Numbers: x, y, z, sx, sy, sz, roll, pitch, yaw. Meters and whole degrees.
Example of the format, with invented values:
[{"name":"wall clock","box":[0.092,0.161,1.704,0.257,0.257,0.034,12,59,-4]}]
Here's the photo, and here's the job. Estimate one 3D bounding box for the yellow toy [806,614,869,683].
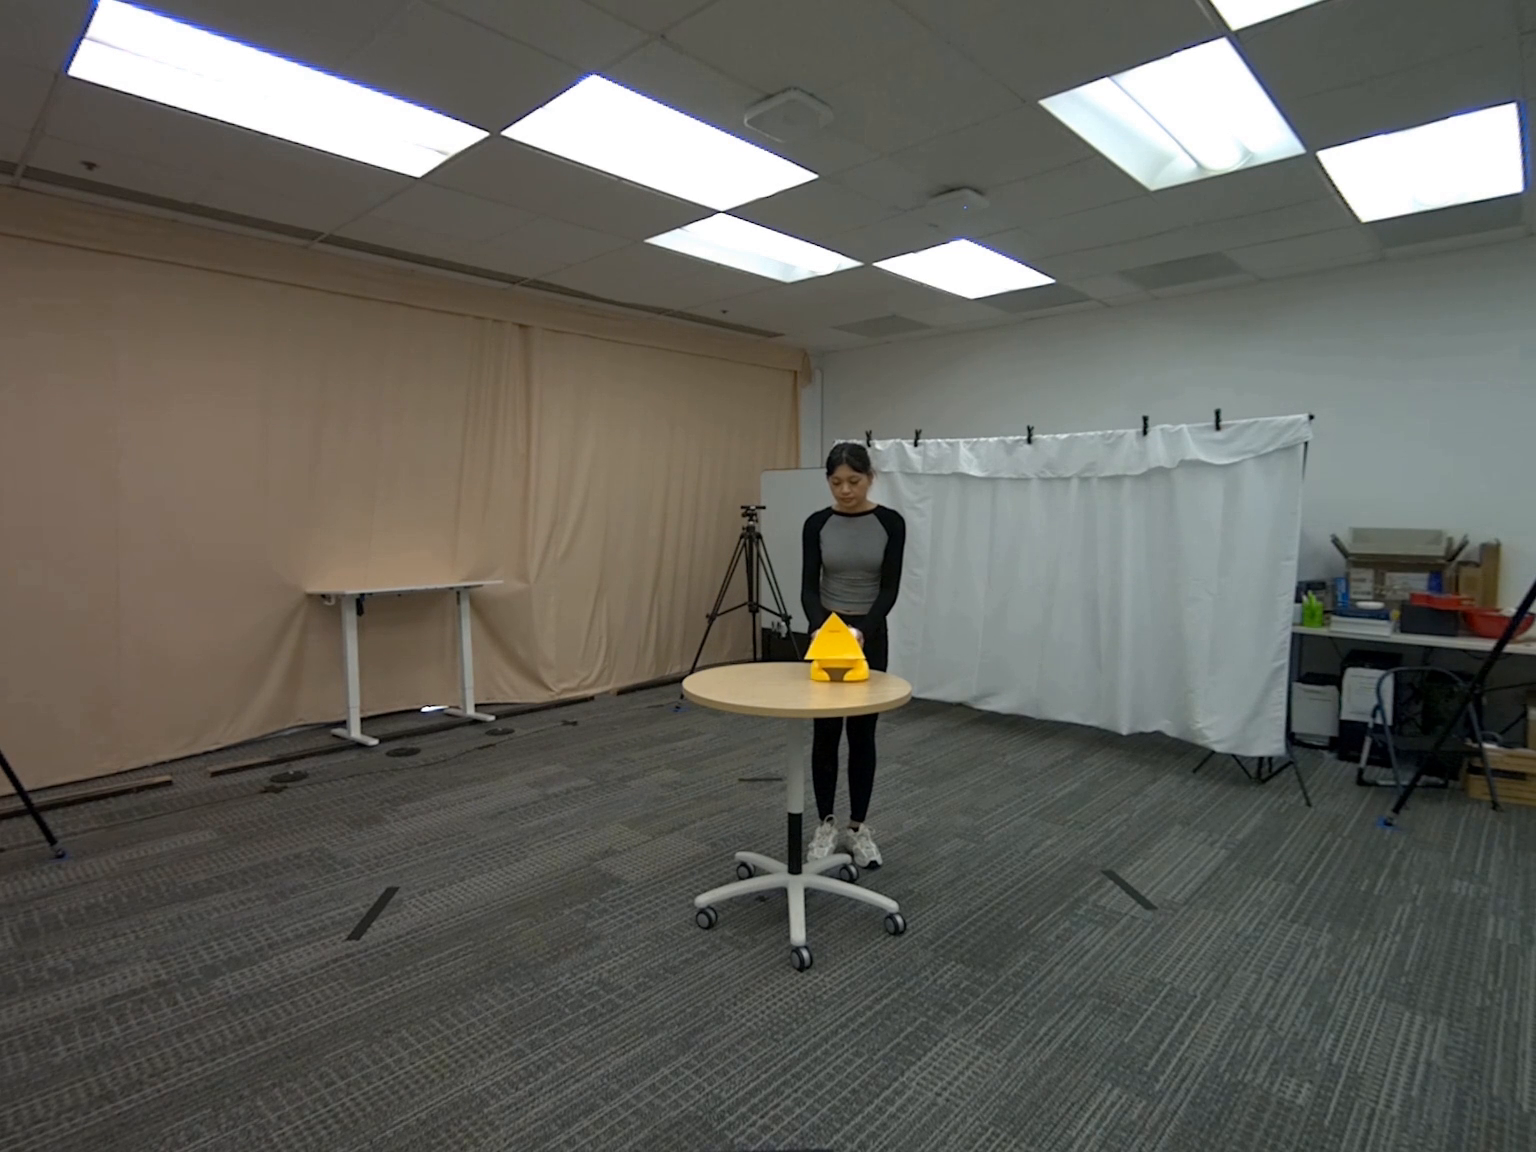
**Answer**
[{"name":"yellow toy","box":[0.236,0.231,2.908,0.208,0.230,0.190,0,4,16]}]
